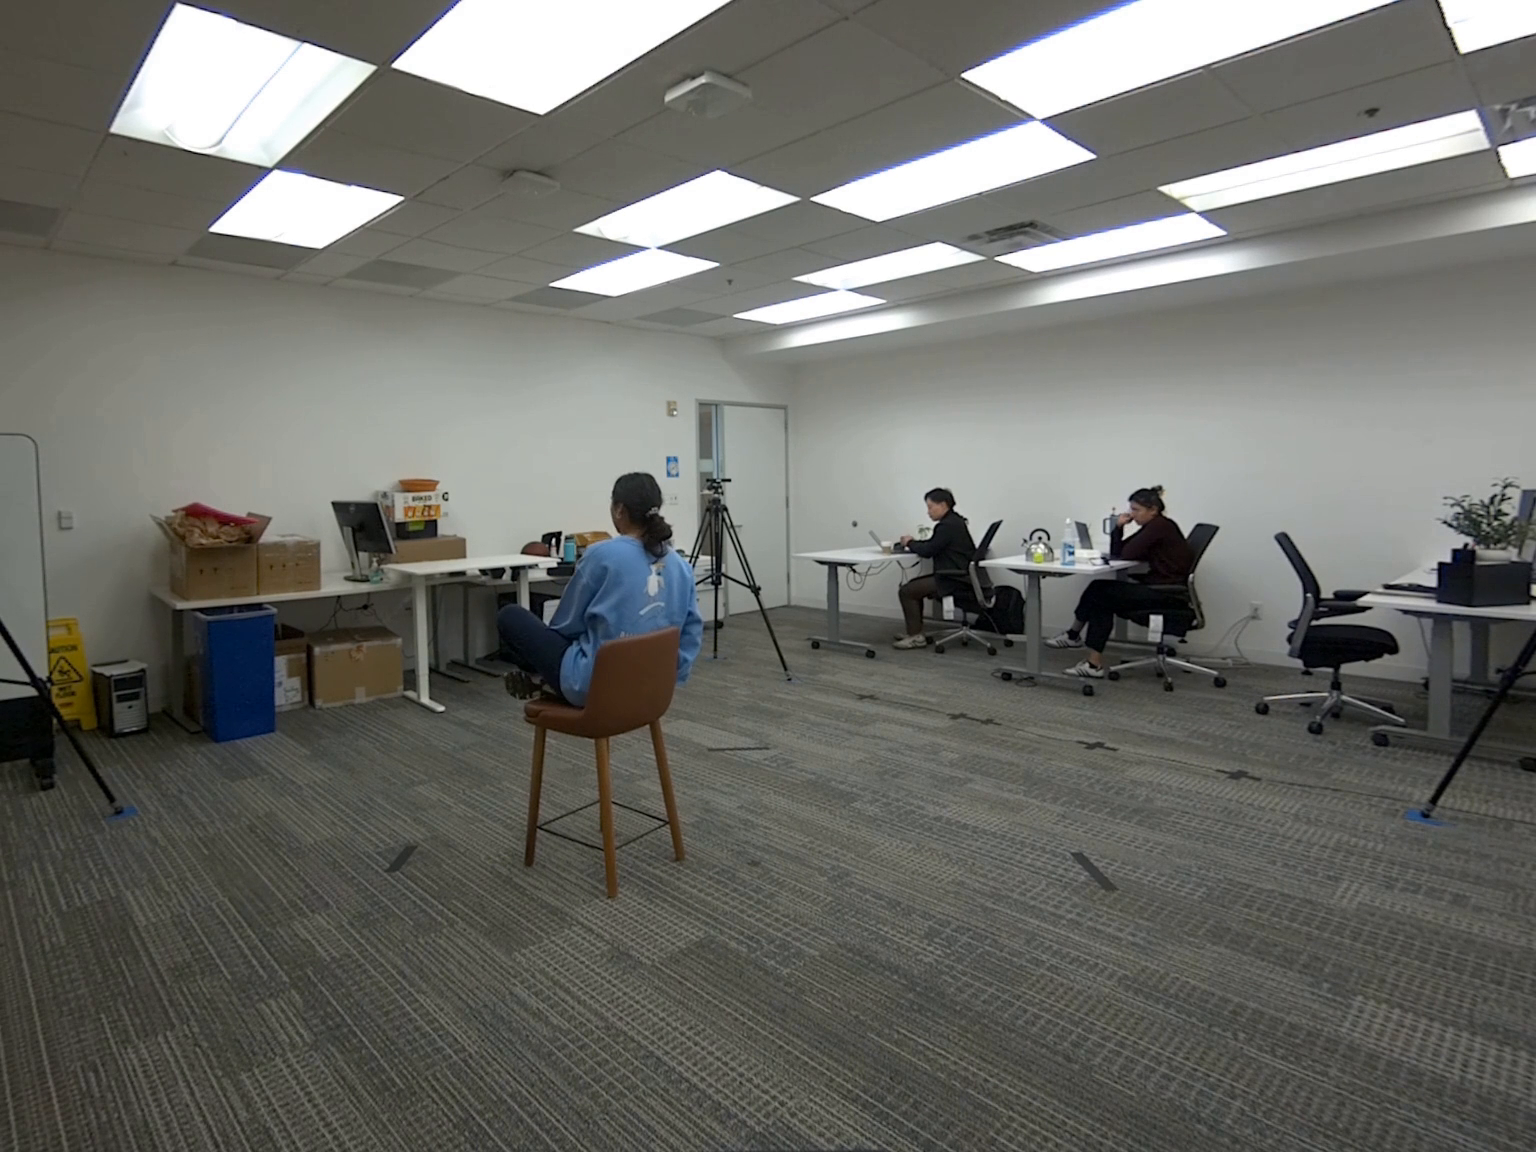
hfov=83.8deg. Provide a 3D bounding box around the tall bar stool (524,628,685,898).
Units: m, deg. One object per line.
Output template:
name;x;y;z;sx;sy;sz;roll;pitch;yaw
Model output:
tall bar stool;-0.598;0.620;3.113;0.482;0.885;0.445;4;7;37
